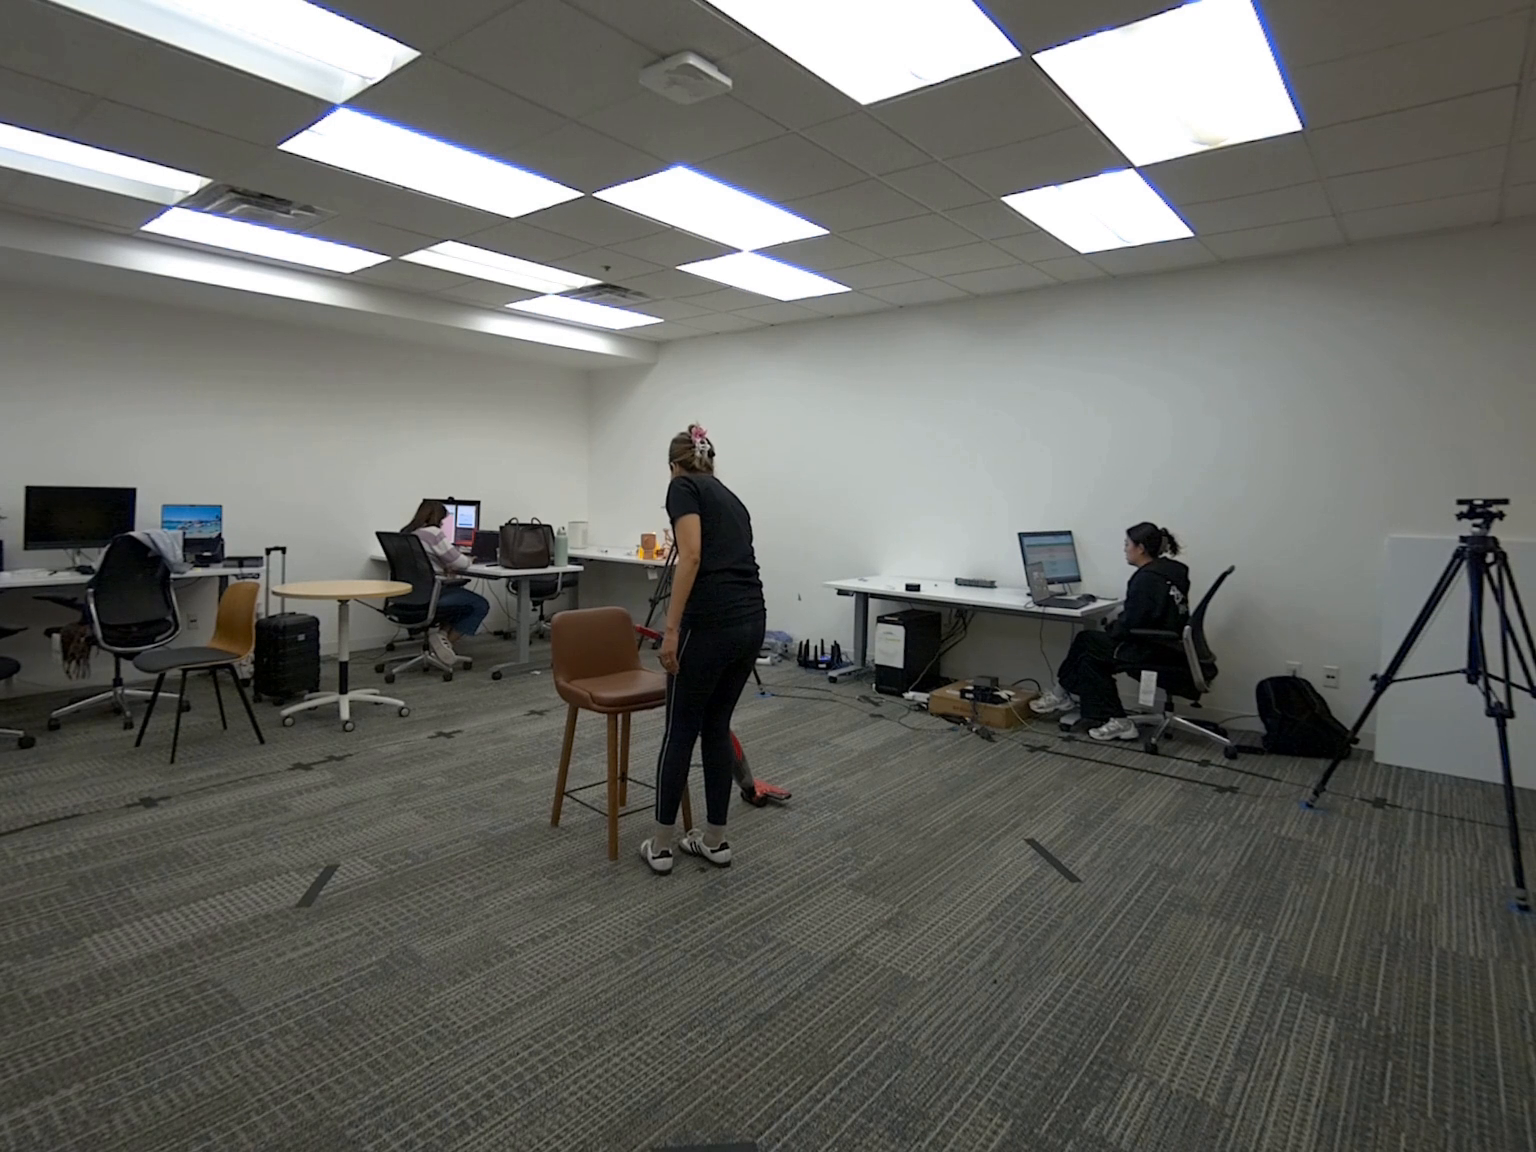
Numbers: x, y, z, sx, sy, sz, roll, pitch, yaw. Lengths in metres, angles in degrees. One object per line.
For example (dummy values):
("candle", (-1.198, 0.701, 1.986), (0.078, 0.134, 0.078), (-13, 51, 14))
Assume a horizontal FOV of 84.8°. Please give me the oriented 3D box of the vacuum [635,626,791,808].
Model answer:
("vacuum", (-0.269, 0.599, 3.616), (0.260, 1.017, 0.144), (0, 39, 49))
